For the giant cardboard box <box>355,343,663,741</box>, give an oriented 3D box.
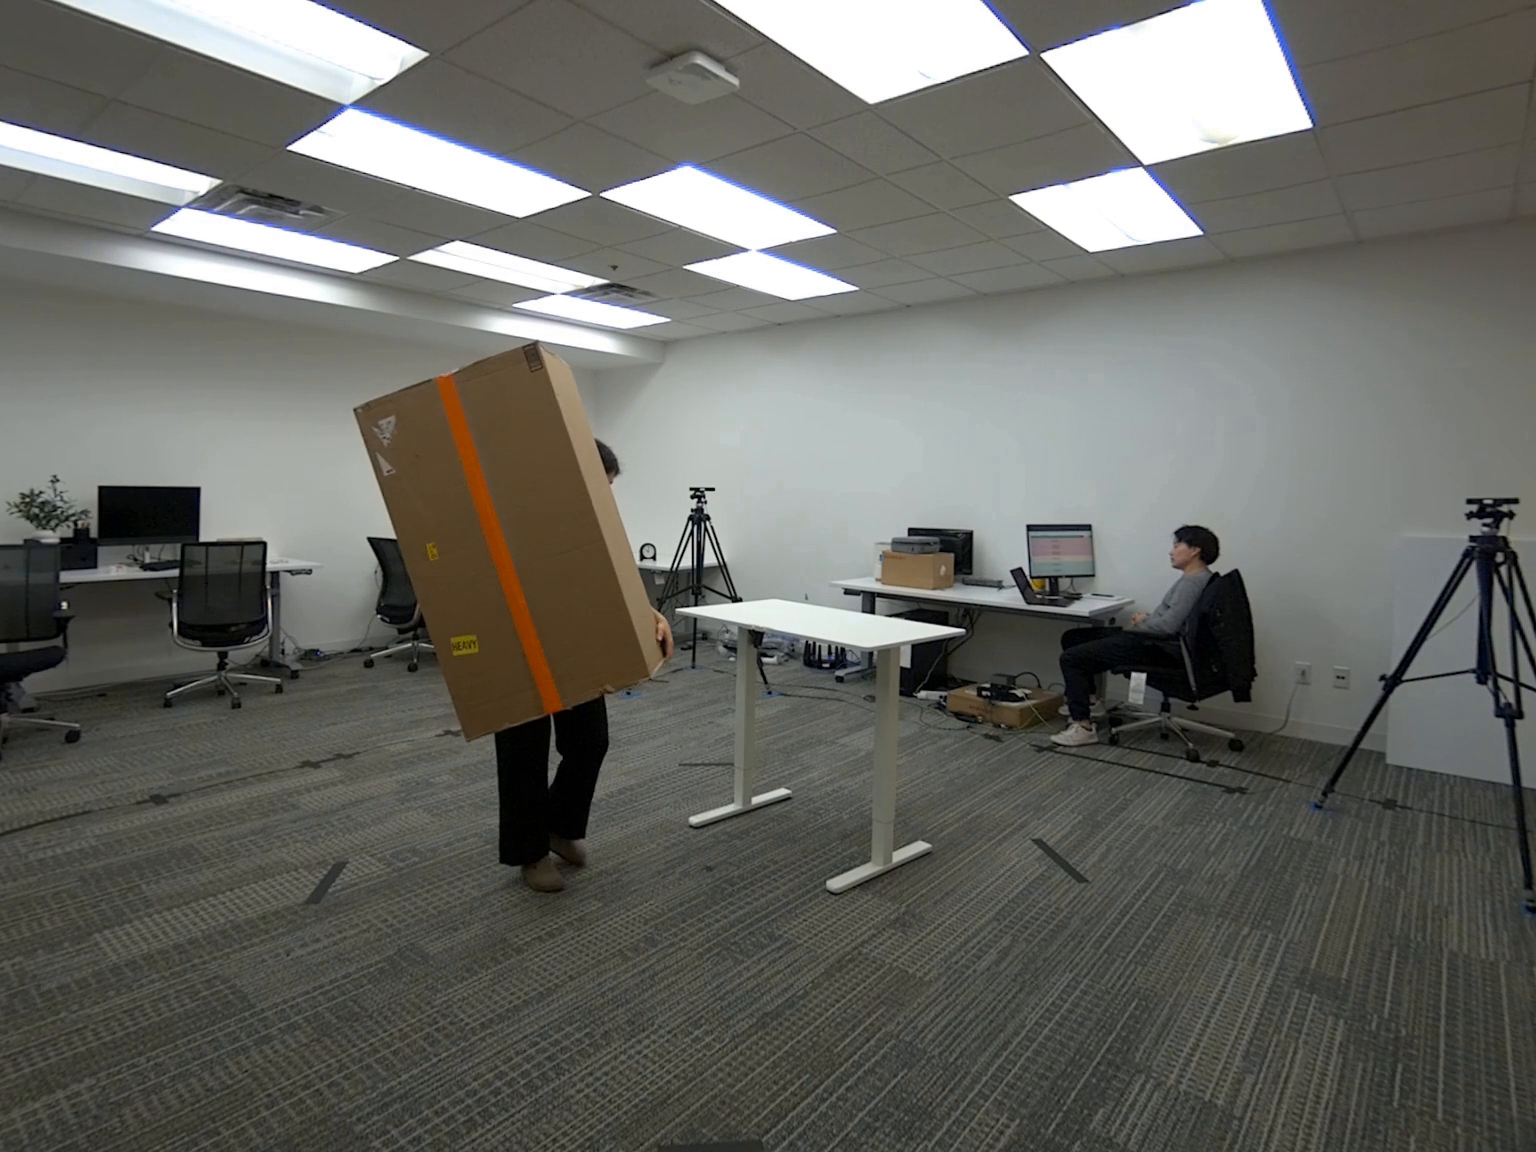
[{"bbox_3d":[-0.779,-0.110,2.634,0.579,1.027,0.424,-20,0,4],"label":"giant cardboard box"}]
